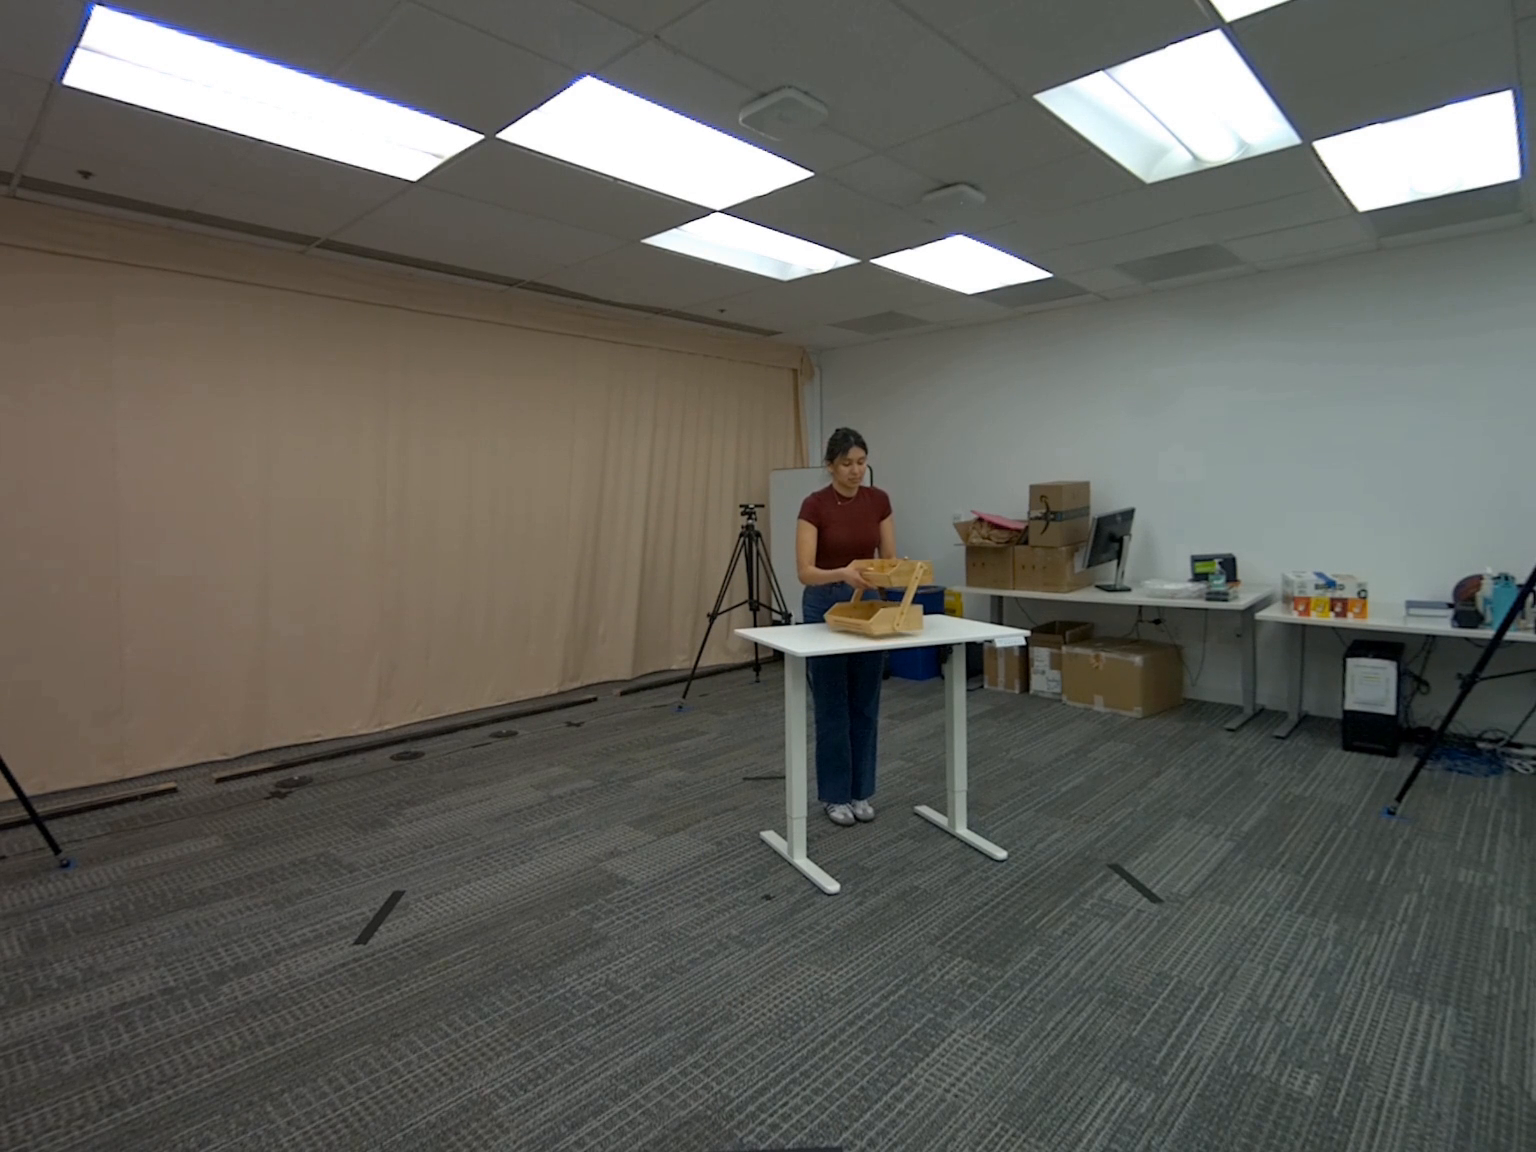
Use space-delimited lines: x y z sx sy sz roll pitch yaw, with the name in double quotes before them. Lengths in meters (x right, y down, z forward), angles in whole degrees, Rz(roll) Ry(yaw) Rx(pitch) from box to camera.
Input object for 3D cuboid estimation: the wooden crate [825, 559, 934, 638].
"wooden crate" 0.427 0.064 3.289 0.294 0.273 0.333 -2 2 -29
